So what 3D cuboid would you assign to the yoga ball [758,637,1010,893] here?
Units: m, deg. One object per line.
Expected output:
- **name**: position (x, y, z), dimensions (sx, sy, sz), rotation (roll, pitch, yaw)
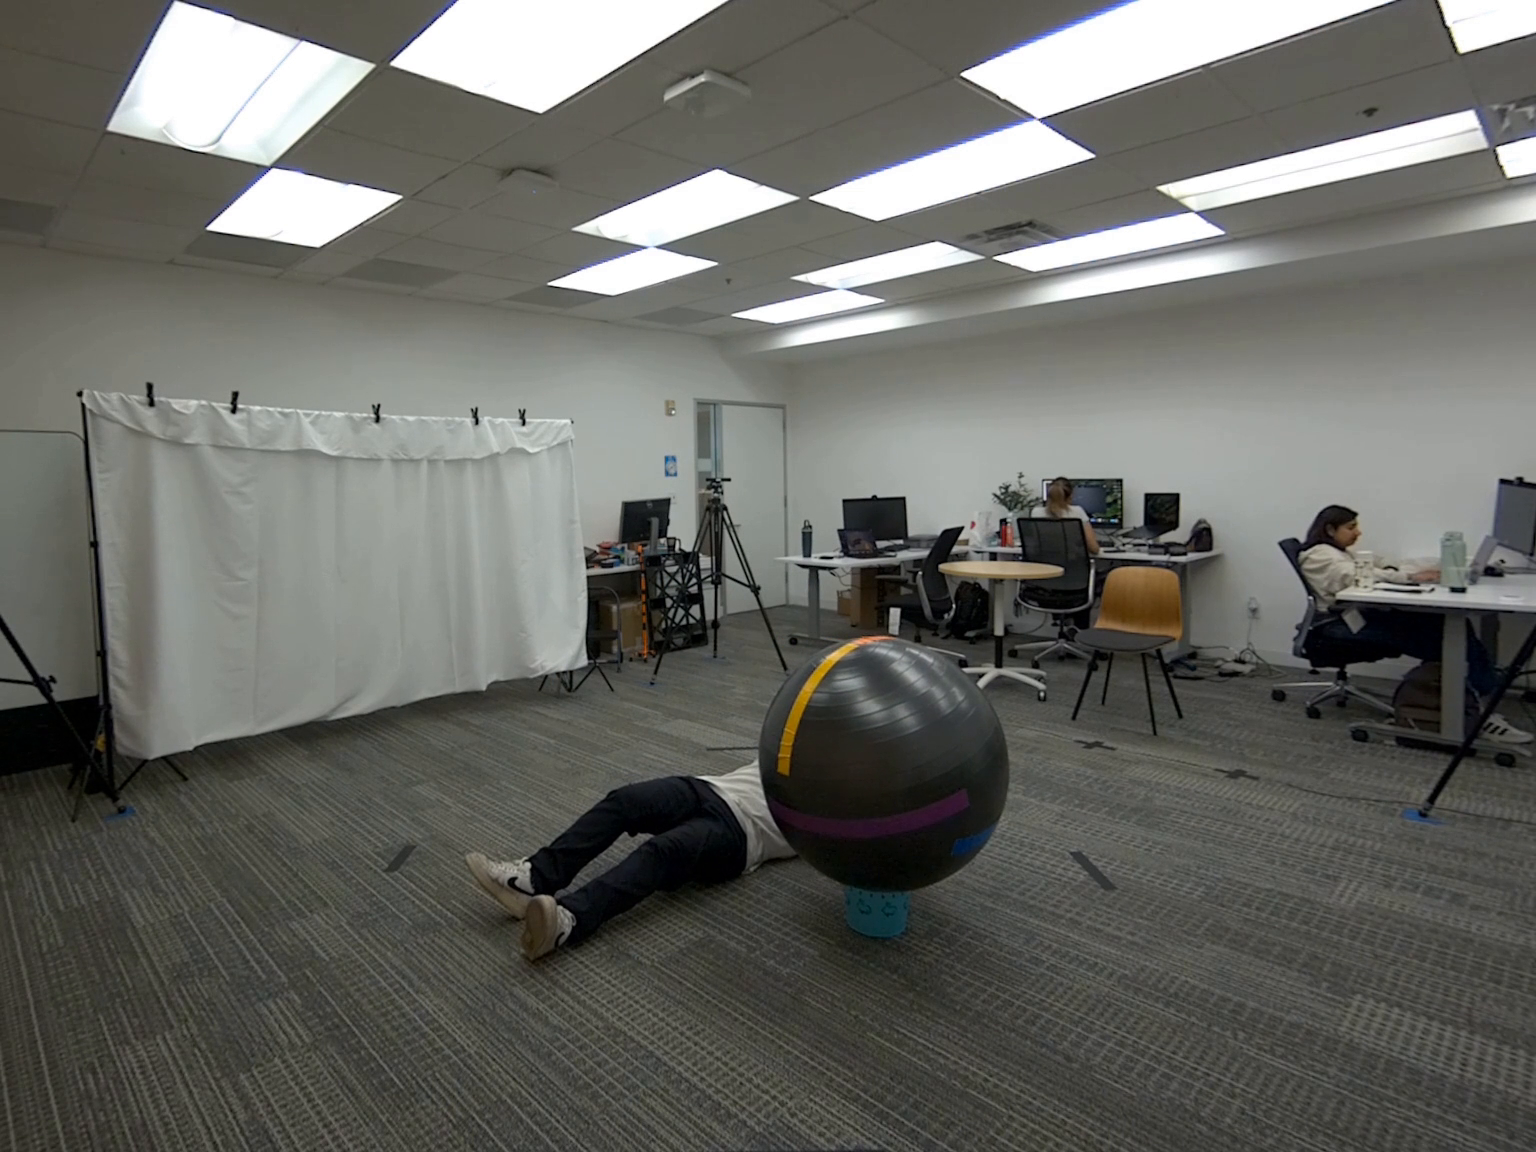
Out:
- **yoga ball**: position (0.354, 0.577, 2.640), dimensions (0.757, 0.755, 0.762), rotation (-1, 5, -2)
